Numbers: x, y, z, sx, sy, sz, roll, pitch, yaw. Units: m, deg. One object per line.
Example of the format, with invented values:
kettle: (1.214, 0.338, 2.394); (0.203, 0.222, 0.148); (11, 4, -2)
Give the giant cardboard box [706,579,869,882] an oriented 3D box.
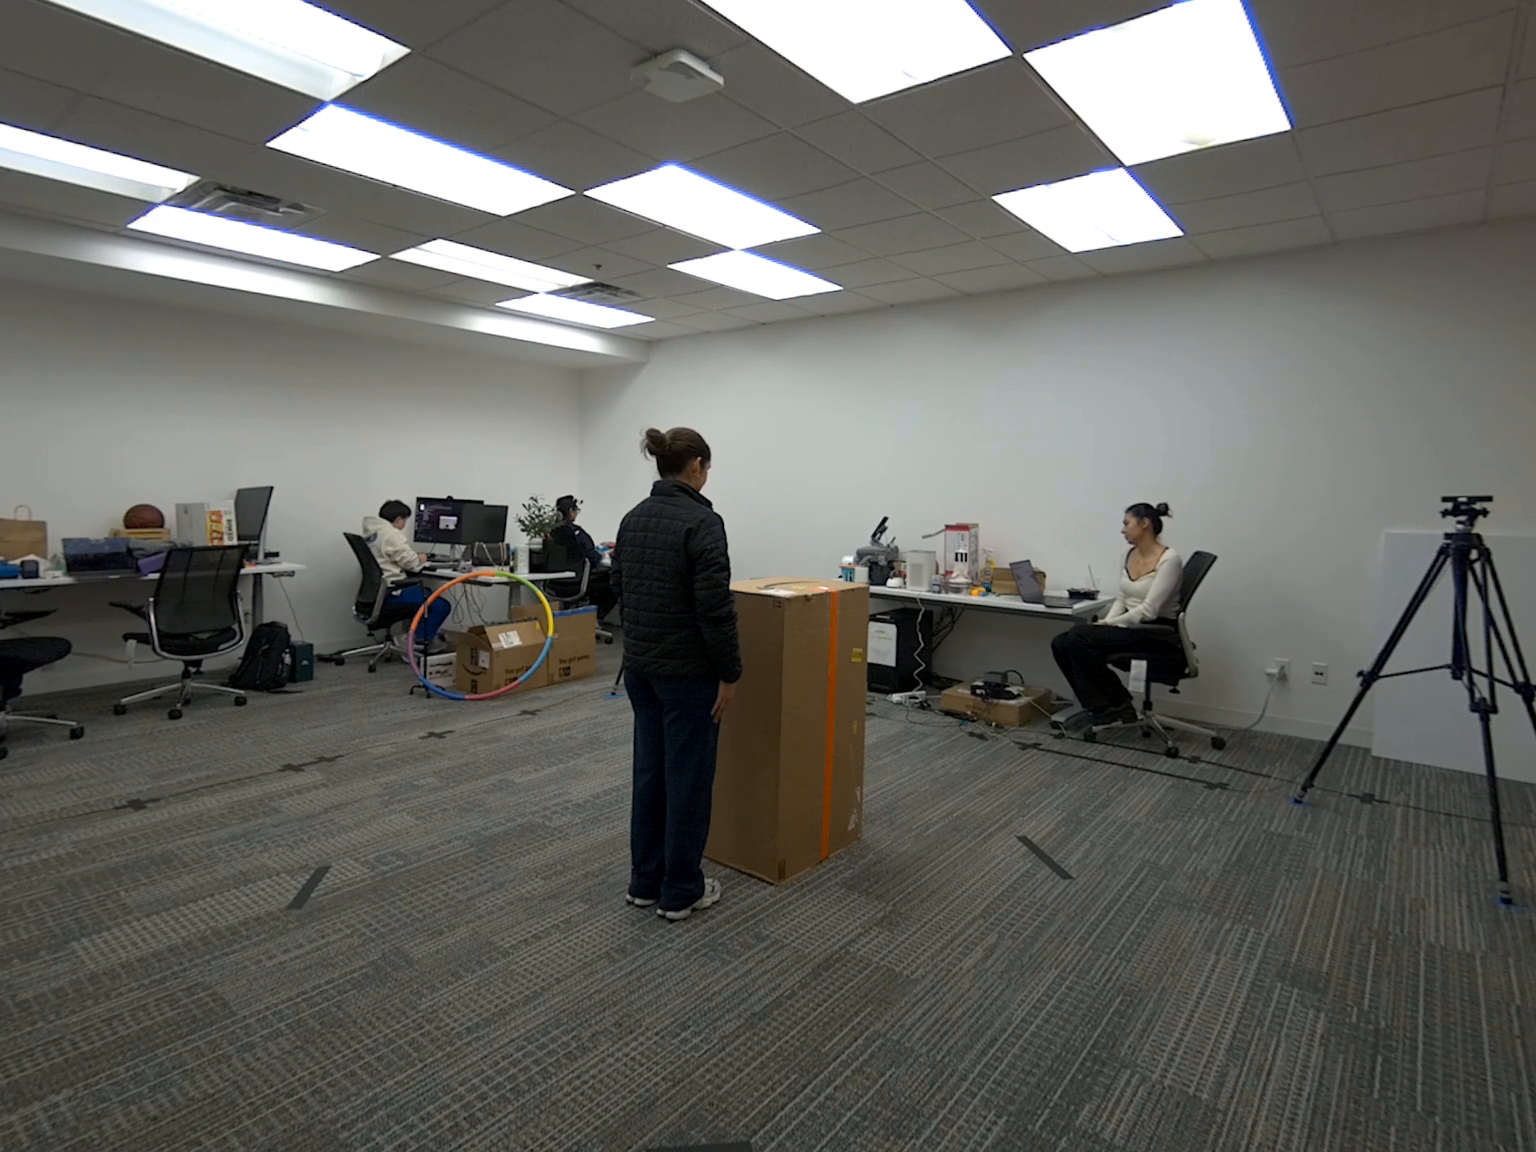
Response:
giant cardboard box: (0.072, 0.539, 3.313); (0.462, 1.023, 0.566); (5, 5, 40)
